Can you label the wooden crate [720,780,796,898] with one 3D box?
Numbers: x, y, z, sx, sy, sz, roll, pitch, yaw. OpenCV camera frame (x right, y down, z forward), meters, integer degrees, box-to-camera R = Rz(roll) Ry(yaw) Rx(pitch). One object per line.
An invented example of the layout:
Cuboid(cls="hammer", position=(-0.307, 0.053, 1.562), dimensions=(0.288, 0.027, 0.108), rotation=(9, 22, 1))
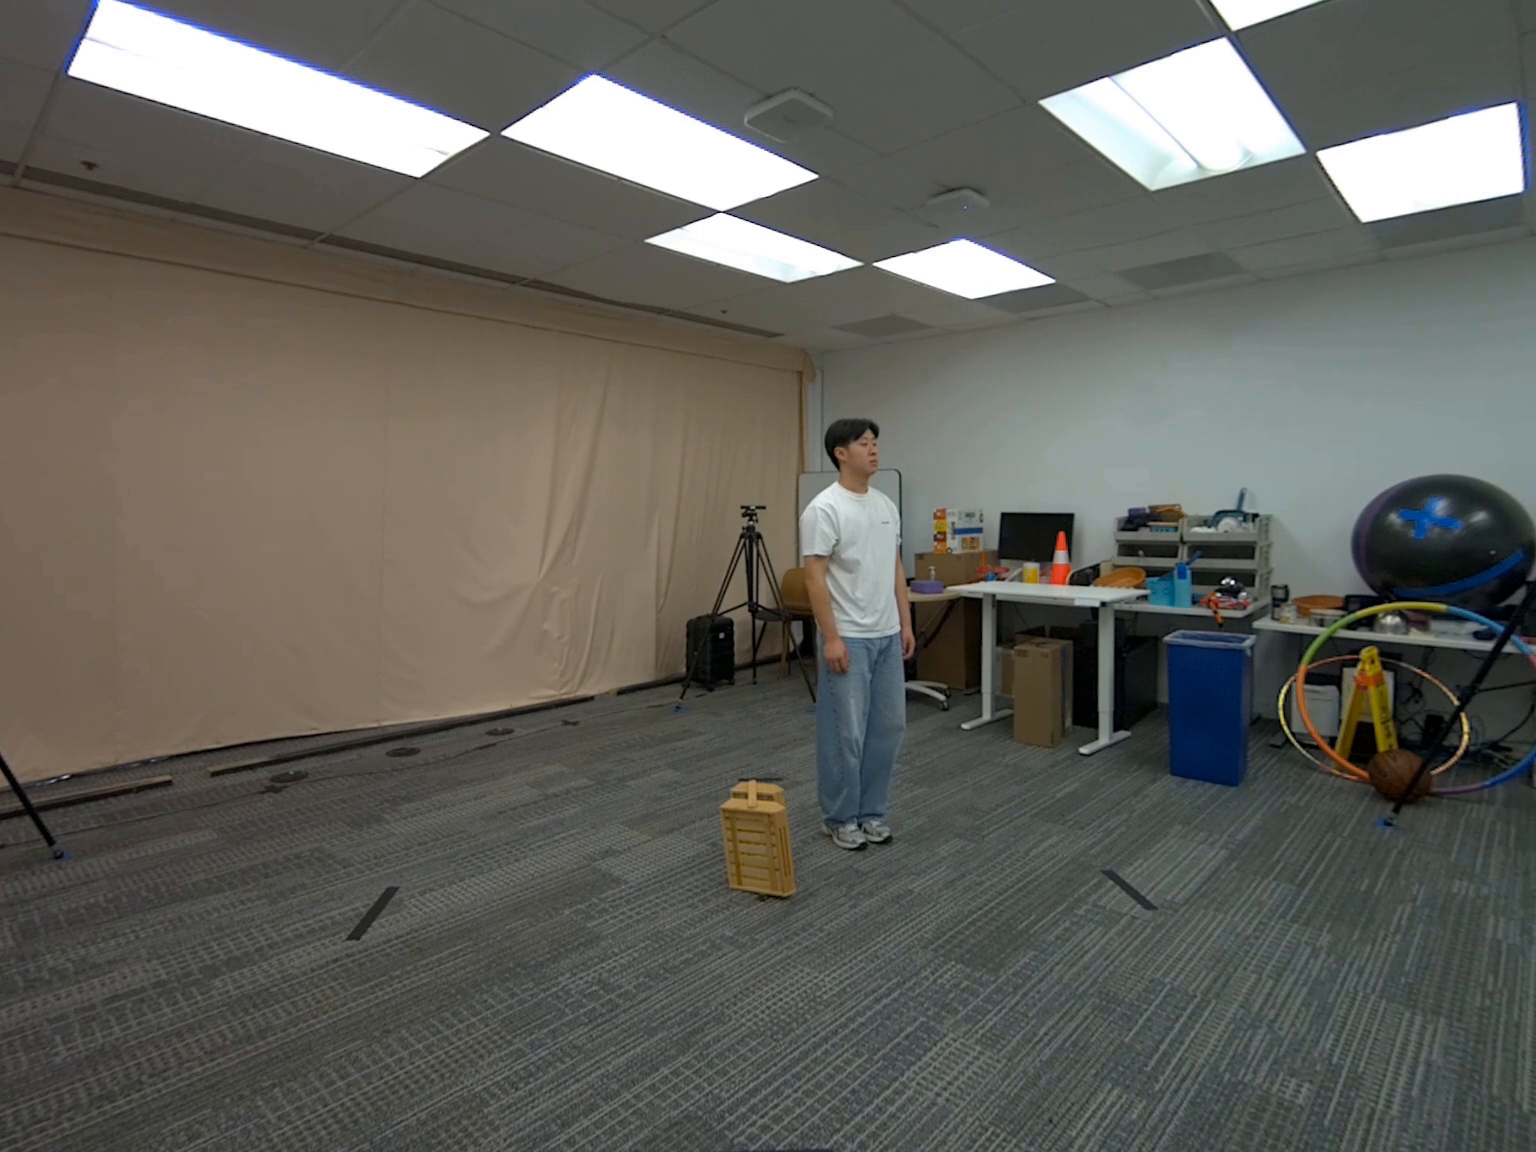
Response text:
Cuboid(cls="wooden crate", position=(-0.009, 0.964, 3.125), dimensions=(0.310, 0.323, 0.267), rotation=(-4, 4, 31))
